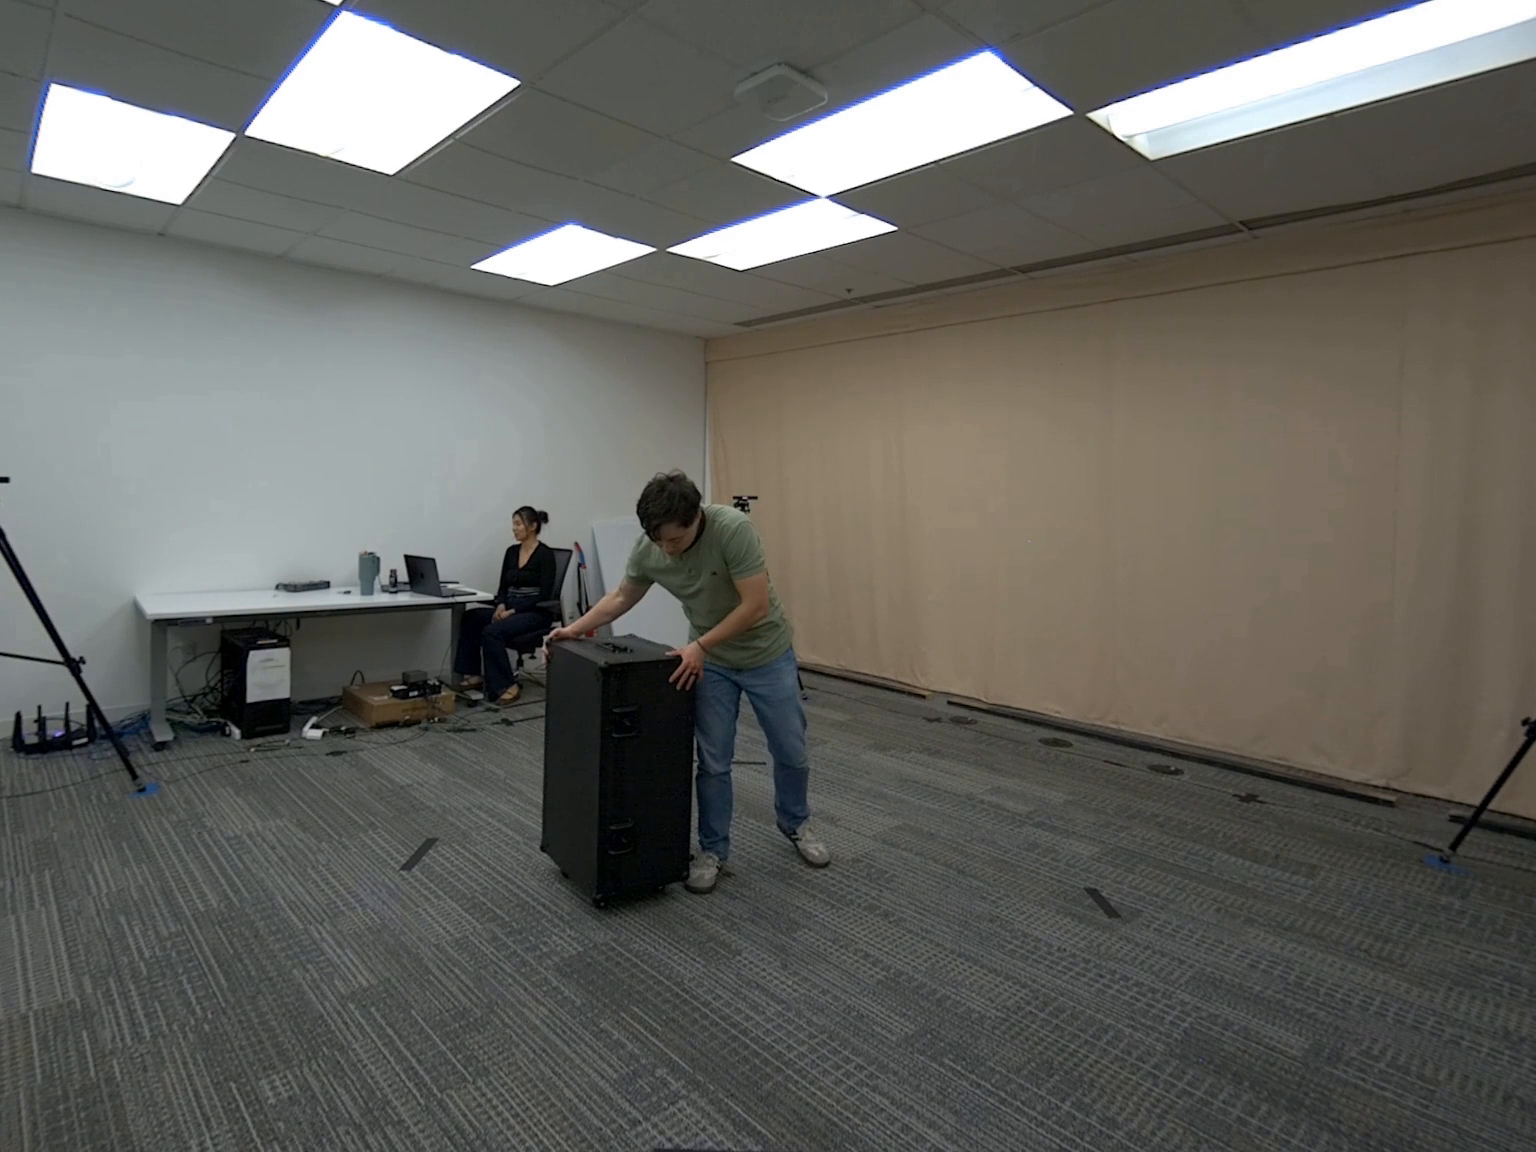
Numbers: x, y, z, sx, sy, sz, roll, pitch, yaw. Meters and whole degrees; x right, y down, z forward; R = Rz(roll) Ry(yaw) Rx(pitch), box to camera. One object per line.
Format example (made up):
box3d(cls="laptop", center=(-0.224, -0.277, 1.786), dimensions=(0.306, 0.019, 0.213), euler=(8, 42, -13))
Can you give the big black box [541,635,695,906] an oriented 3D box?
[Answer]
box3d(cls="big black box", center=(-0.539, 0.680, 2.990), dimensions=(0.387, 0.860, 0.534), euler=(1, 3, -35))
